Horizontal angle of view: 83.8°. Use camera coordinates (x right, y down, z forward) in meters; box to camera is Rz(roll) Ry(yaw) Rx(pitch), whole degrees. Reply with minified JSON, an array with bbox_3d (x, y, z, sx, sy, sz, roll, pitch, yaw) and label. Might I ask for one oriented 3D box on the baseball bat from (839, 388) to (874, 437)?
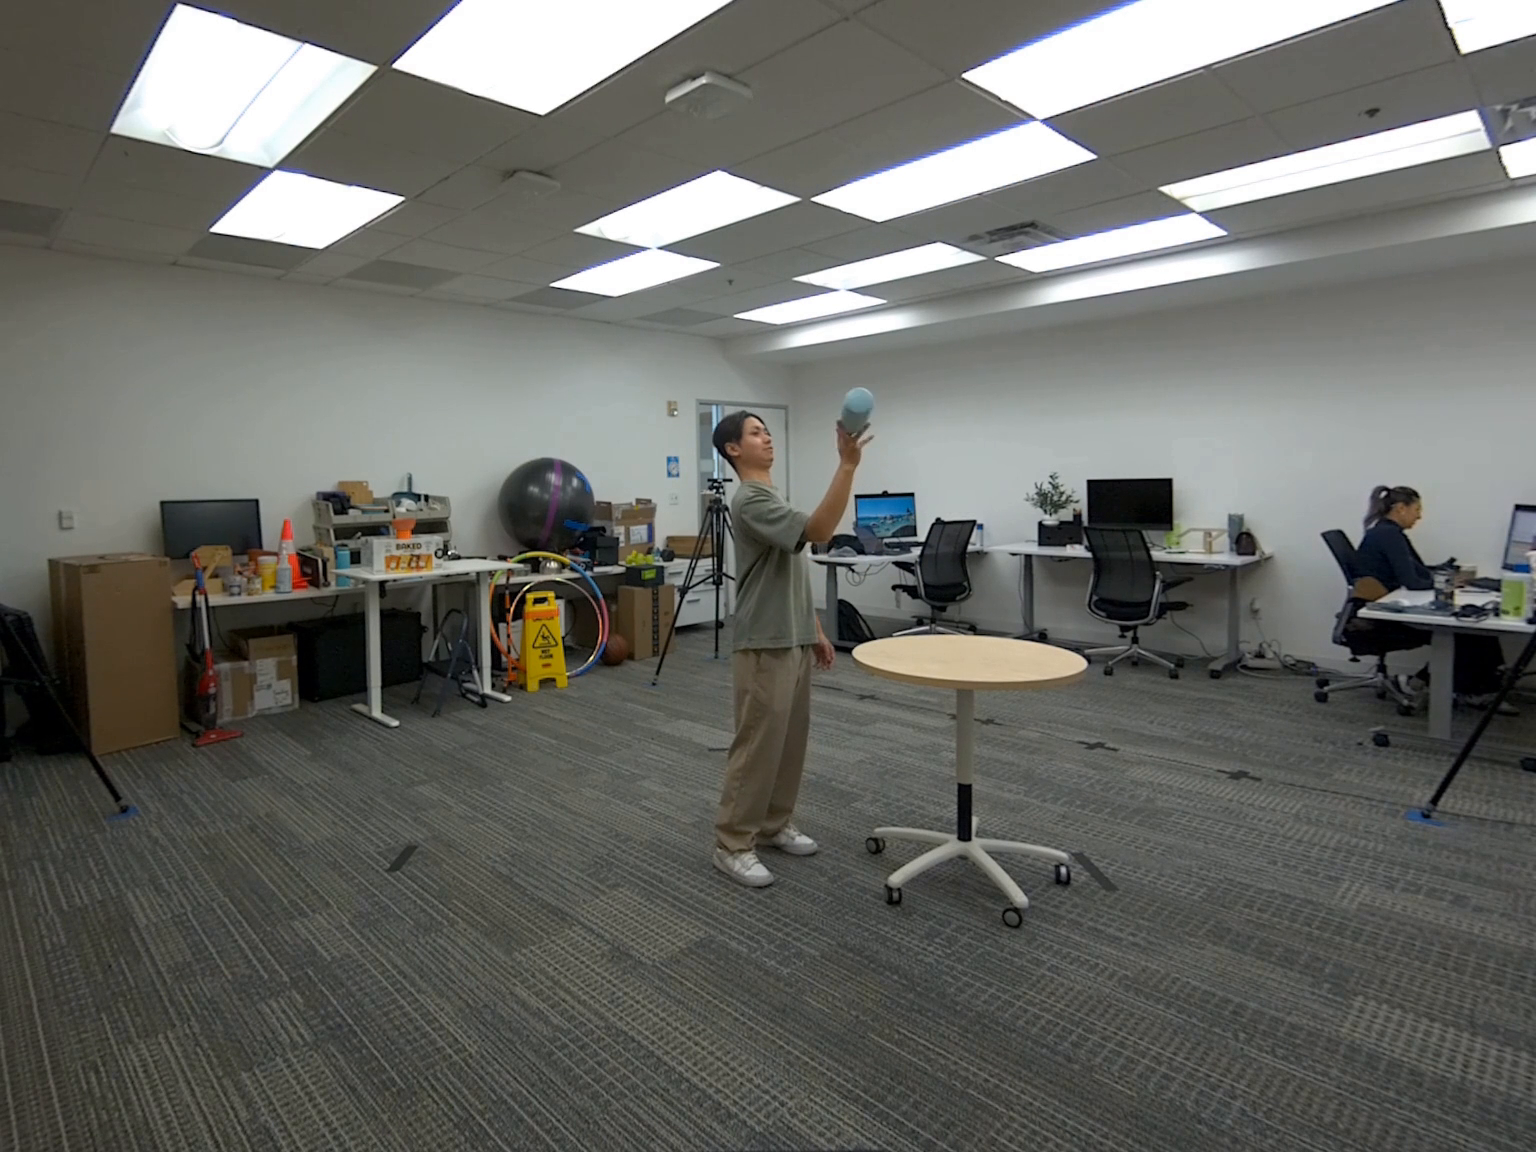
[{"bbox_3d":[0.274,-0.484,2.780,0.089,0.090,0.537,0,-7,2],"label":"baseball bat"}]
